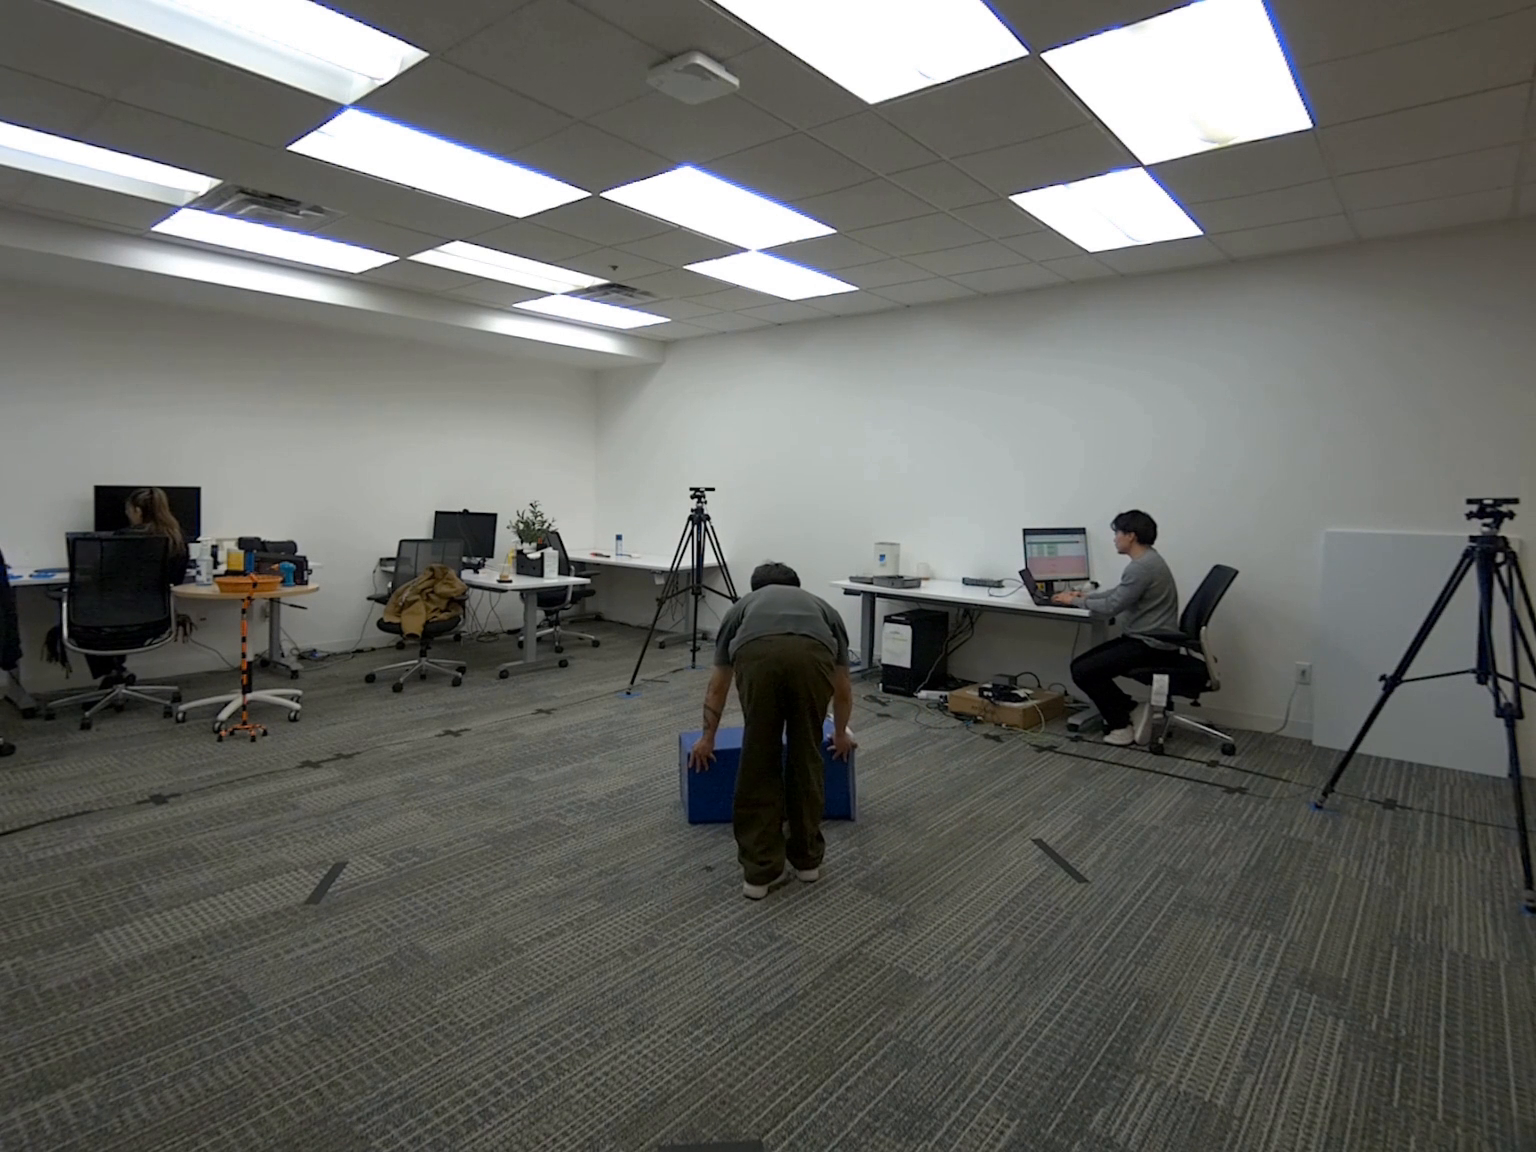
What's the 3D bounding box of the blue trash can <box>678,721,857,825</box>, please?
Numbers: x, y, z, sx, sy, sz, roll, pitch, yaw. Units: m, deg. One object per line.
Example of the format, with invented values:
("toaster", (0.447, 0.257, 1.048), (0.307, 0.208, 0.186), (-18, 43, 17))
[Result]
("blue trash can", (-0.023, 0.838, 3.702), (0.706, 0.372, 0.384), (-1, 6, -10))
